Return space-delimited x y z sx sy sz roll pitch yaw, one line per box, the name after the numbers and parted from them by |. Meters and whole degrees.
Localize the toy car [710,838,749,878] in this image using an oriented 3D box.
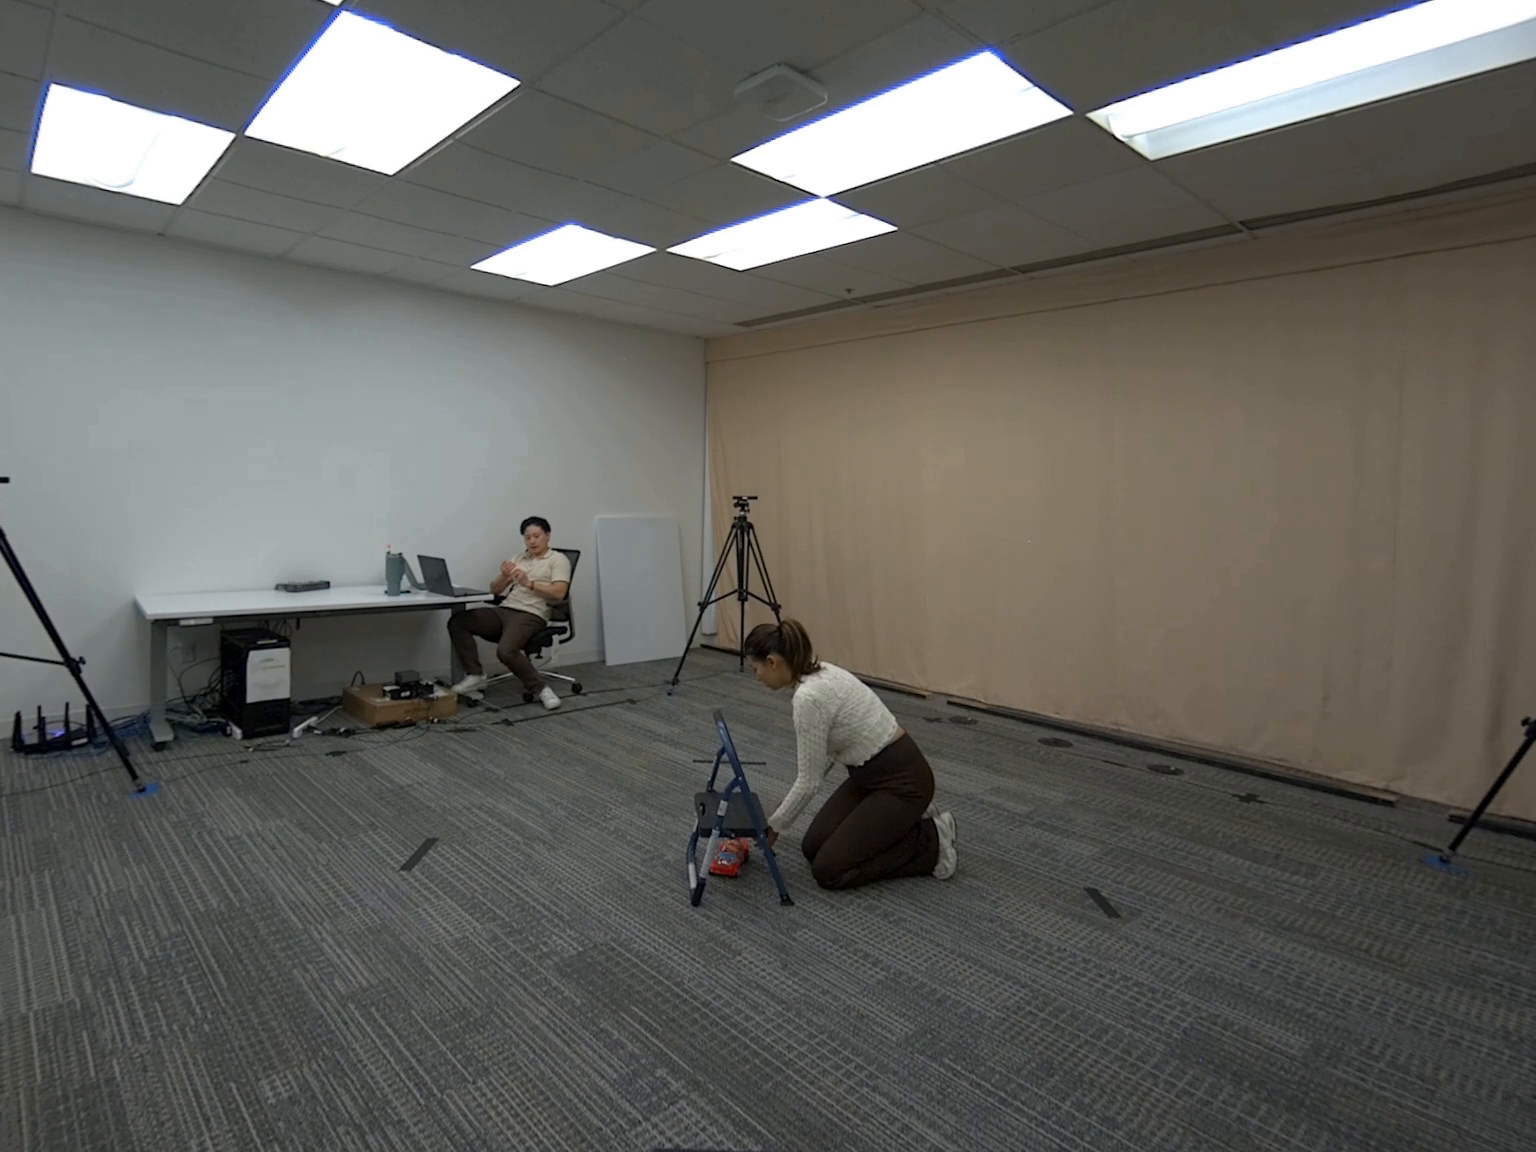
-0.138 1.062 3.184 0.132 0.082 0.254 0 15 12 | toy car
